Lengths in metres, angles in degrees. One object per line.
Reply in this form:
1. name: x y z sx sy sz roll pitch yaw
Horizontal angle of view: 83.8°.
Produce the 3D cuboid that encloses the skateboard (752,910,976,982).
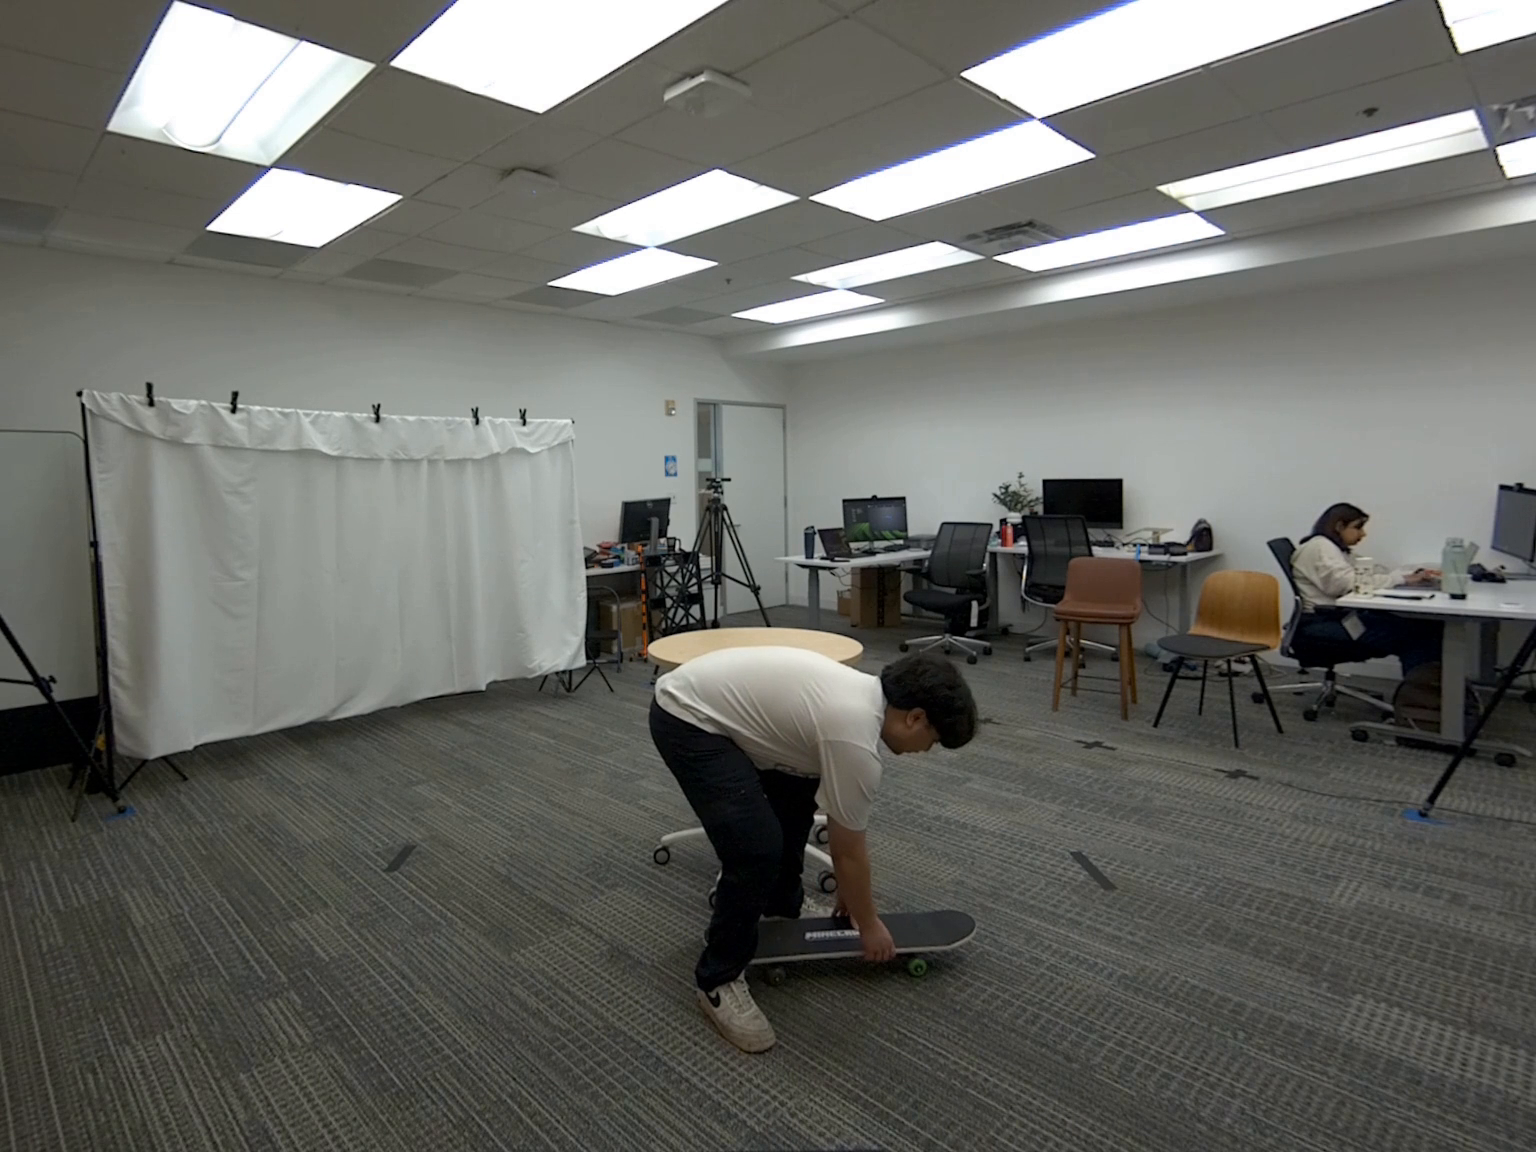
1. skateboard: 0.213 1.062 2.446 0.782 0.110 0.195 -2 5 -4
